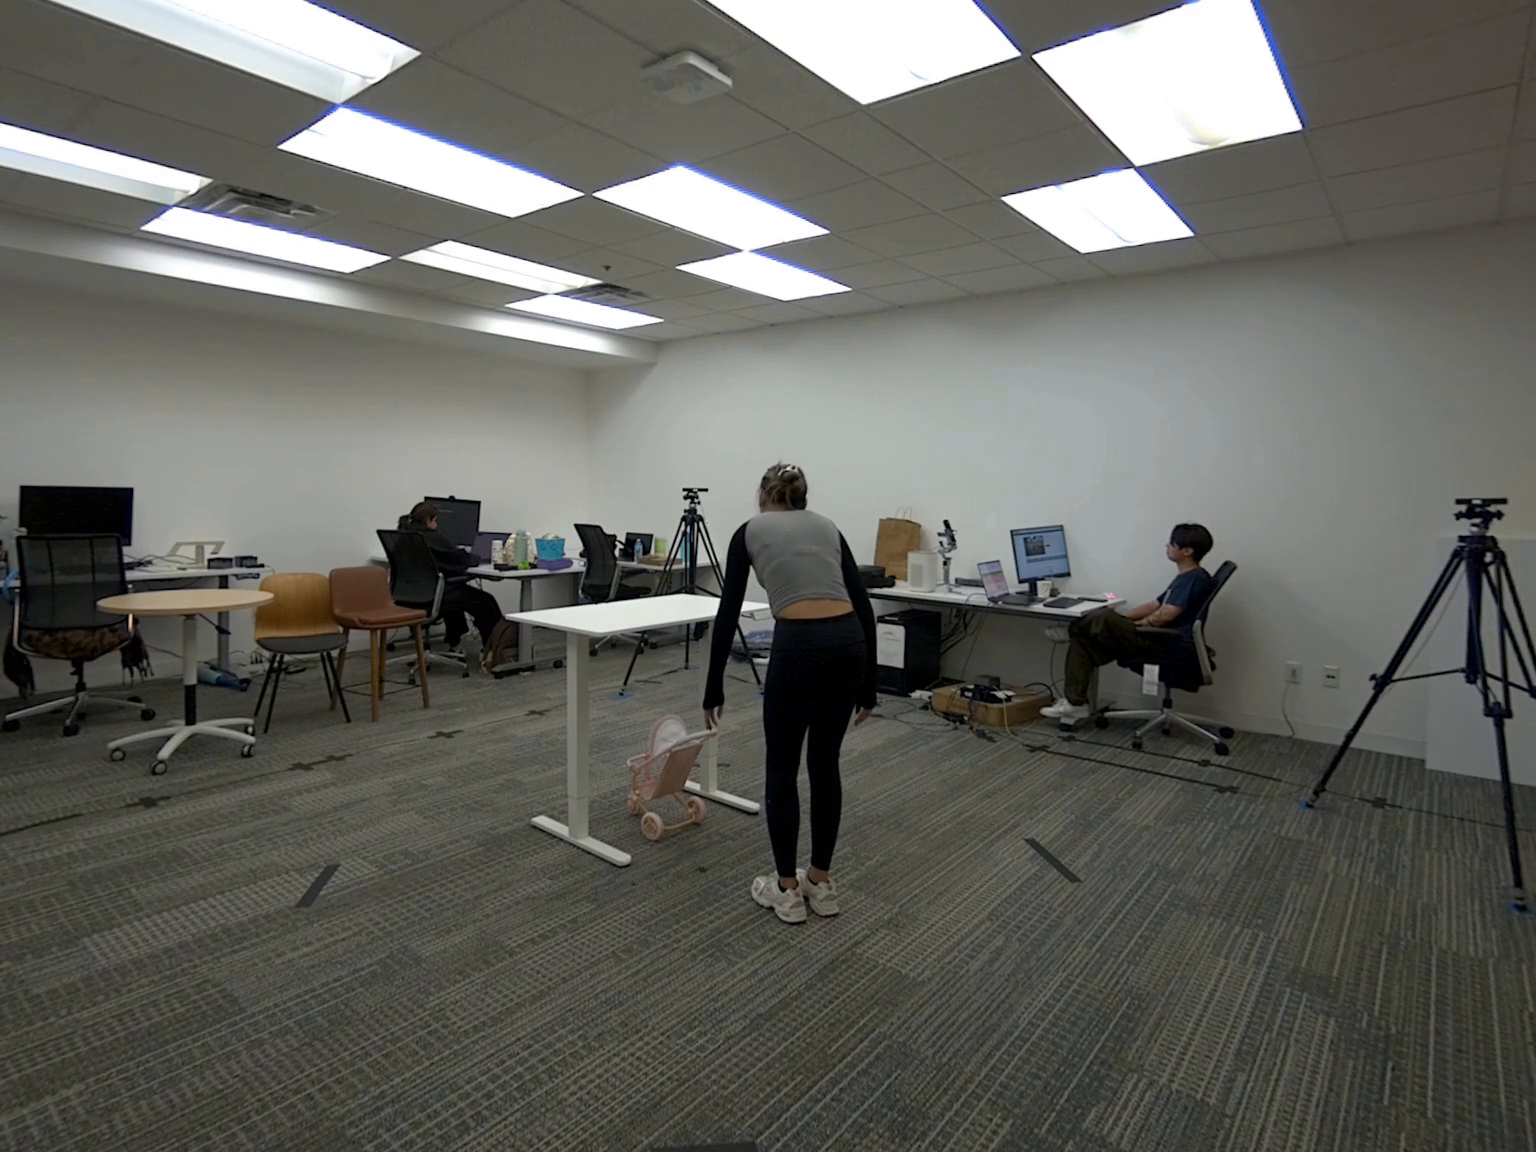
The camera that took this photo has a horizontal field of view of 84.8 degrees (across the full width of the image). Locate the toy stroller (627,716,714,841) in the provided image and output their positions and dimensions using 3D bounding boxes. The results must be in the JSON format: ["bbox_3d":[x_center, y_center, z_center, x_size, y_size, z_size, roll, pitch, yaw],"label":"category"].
[{"bbox_3d":[-0.433,0.803,3.492,0.273,0.530,0.355,-2,19,-45],"label":"toy stroller"}]
